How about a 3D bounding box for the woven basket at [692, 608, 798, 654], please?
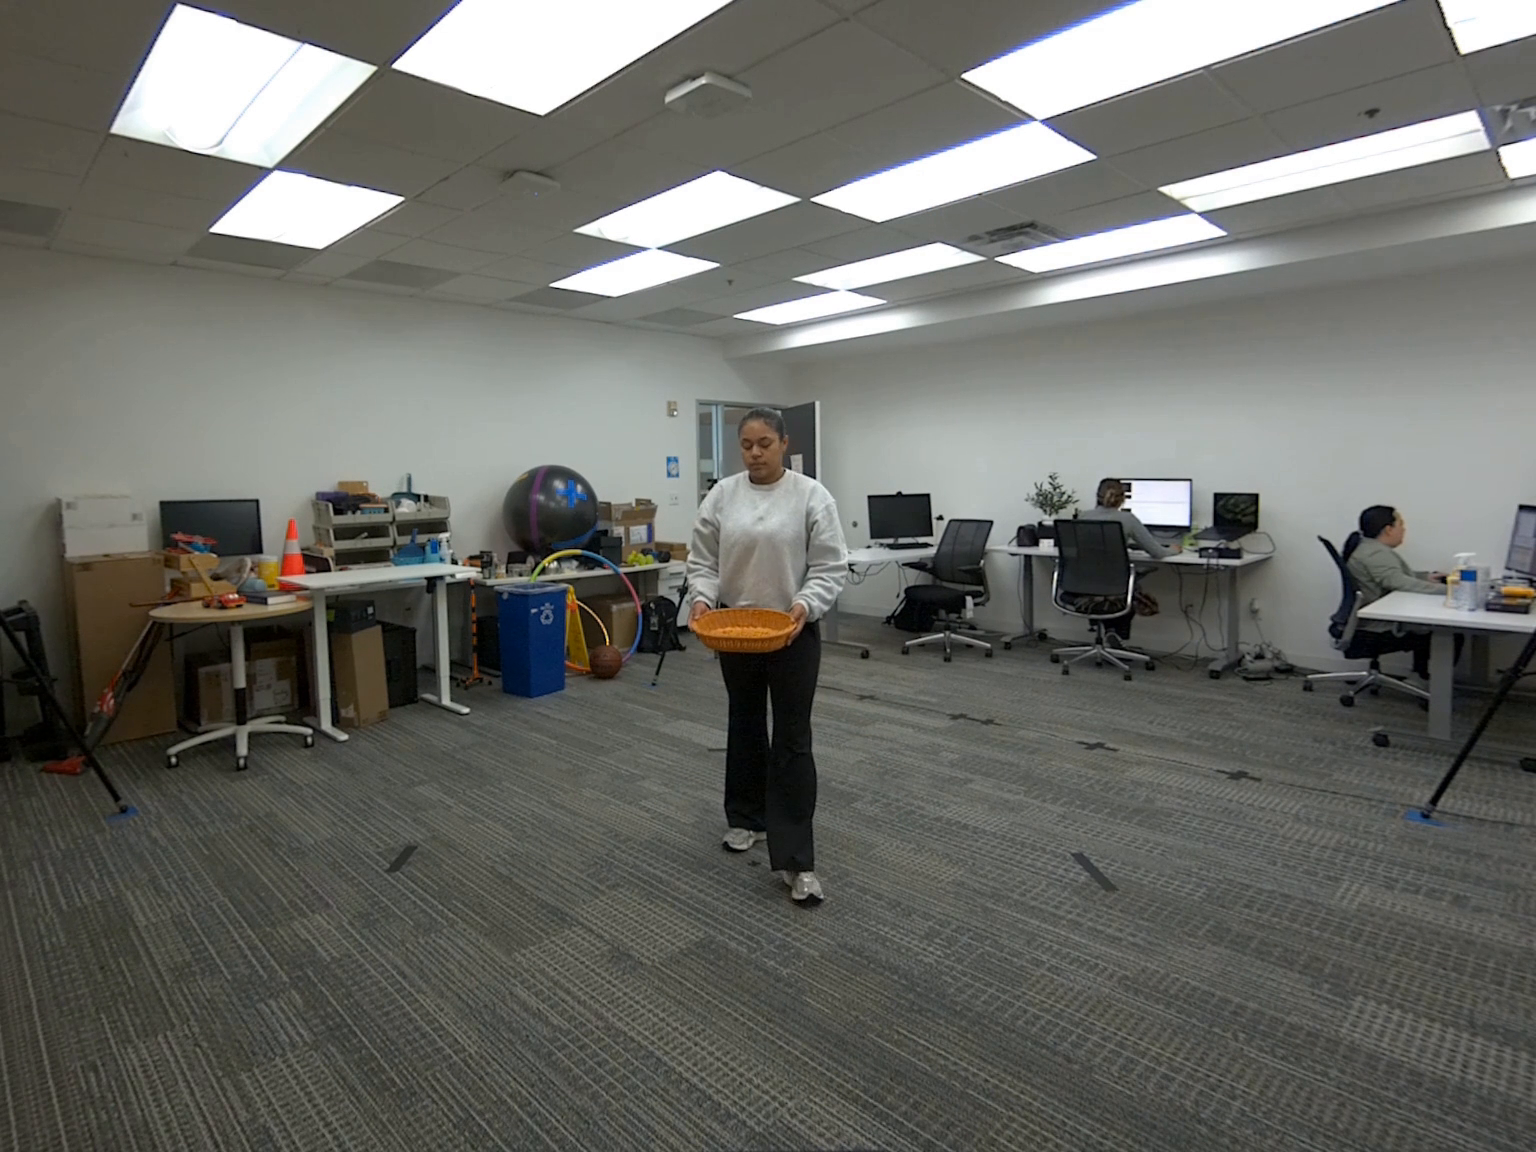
[{"bbox_3d":[-0.085,0.185,2.811,0.357,0.072,0.252,2,21,18],"label":"woven basket"}]
